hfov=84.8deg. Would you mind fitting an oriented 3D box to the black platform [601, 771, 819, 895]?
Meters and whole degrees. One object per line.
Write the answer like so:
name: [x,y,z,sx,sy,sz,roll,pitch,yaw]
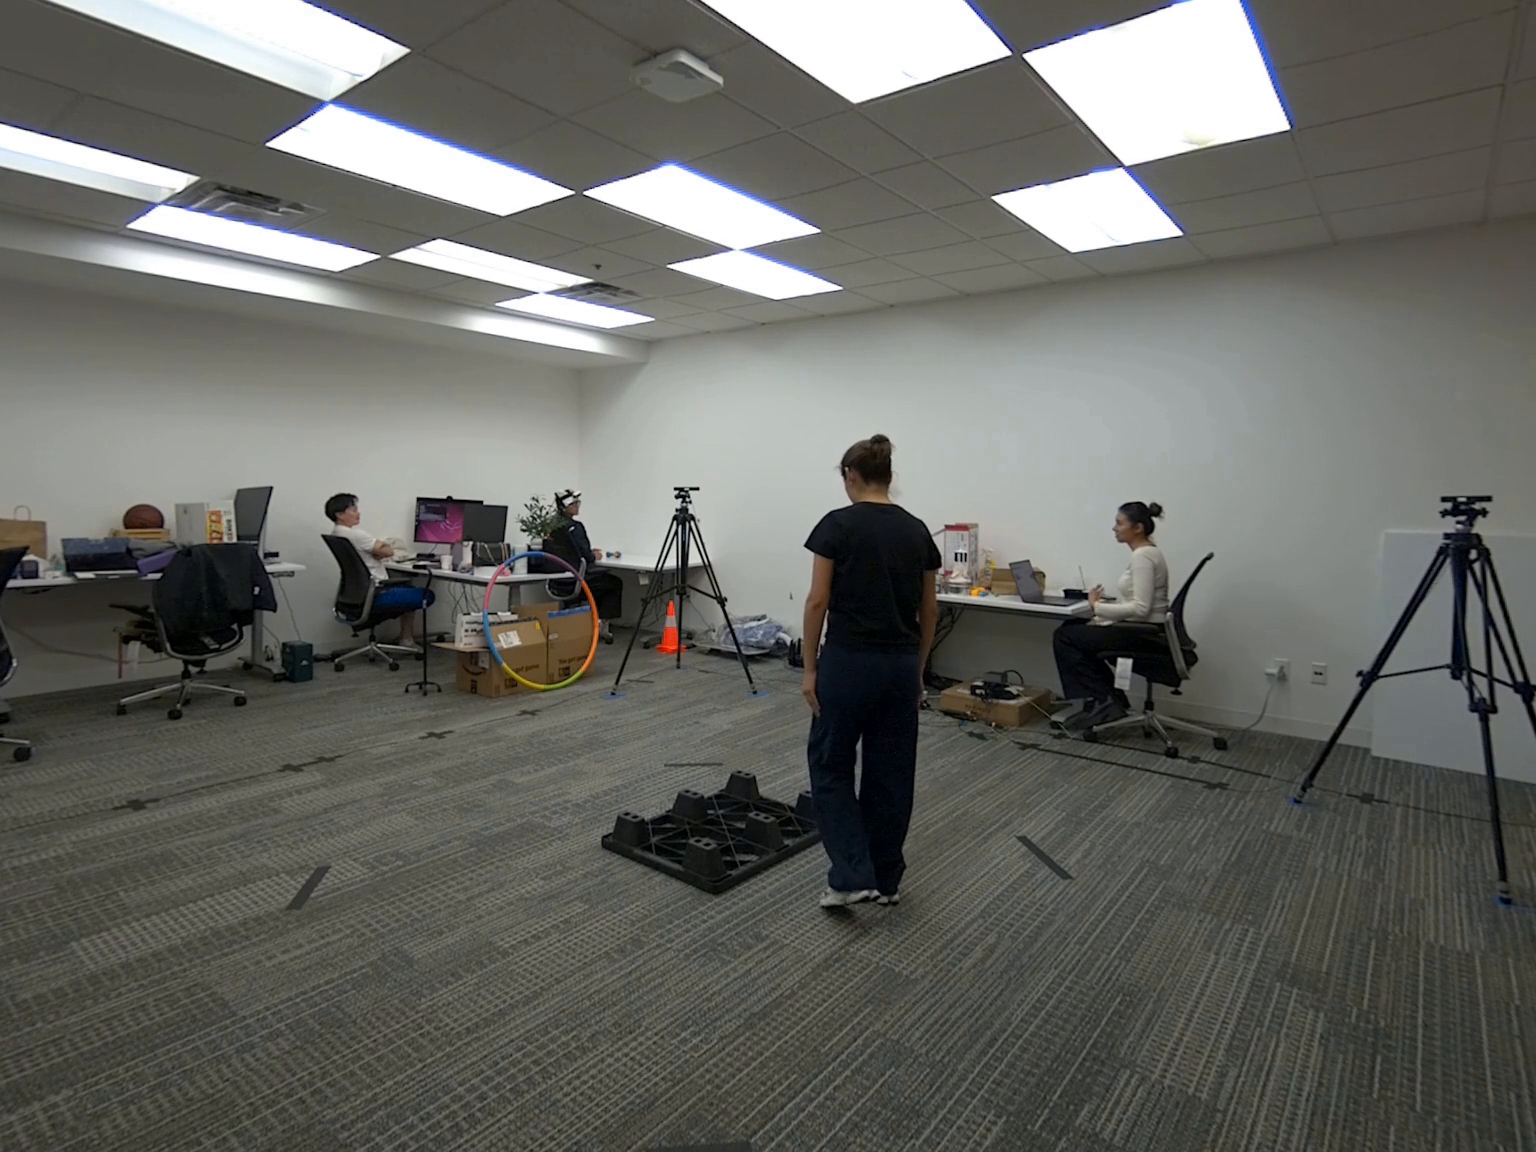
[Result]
black platform: [-0.156,0.972,3.402,0.626,0.143,0.782,6,7,39]
